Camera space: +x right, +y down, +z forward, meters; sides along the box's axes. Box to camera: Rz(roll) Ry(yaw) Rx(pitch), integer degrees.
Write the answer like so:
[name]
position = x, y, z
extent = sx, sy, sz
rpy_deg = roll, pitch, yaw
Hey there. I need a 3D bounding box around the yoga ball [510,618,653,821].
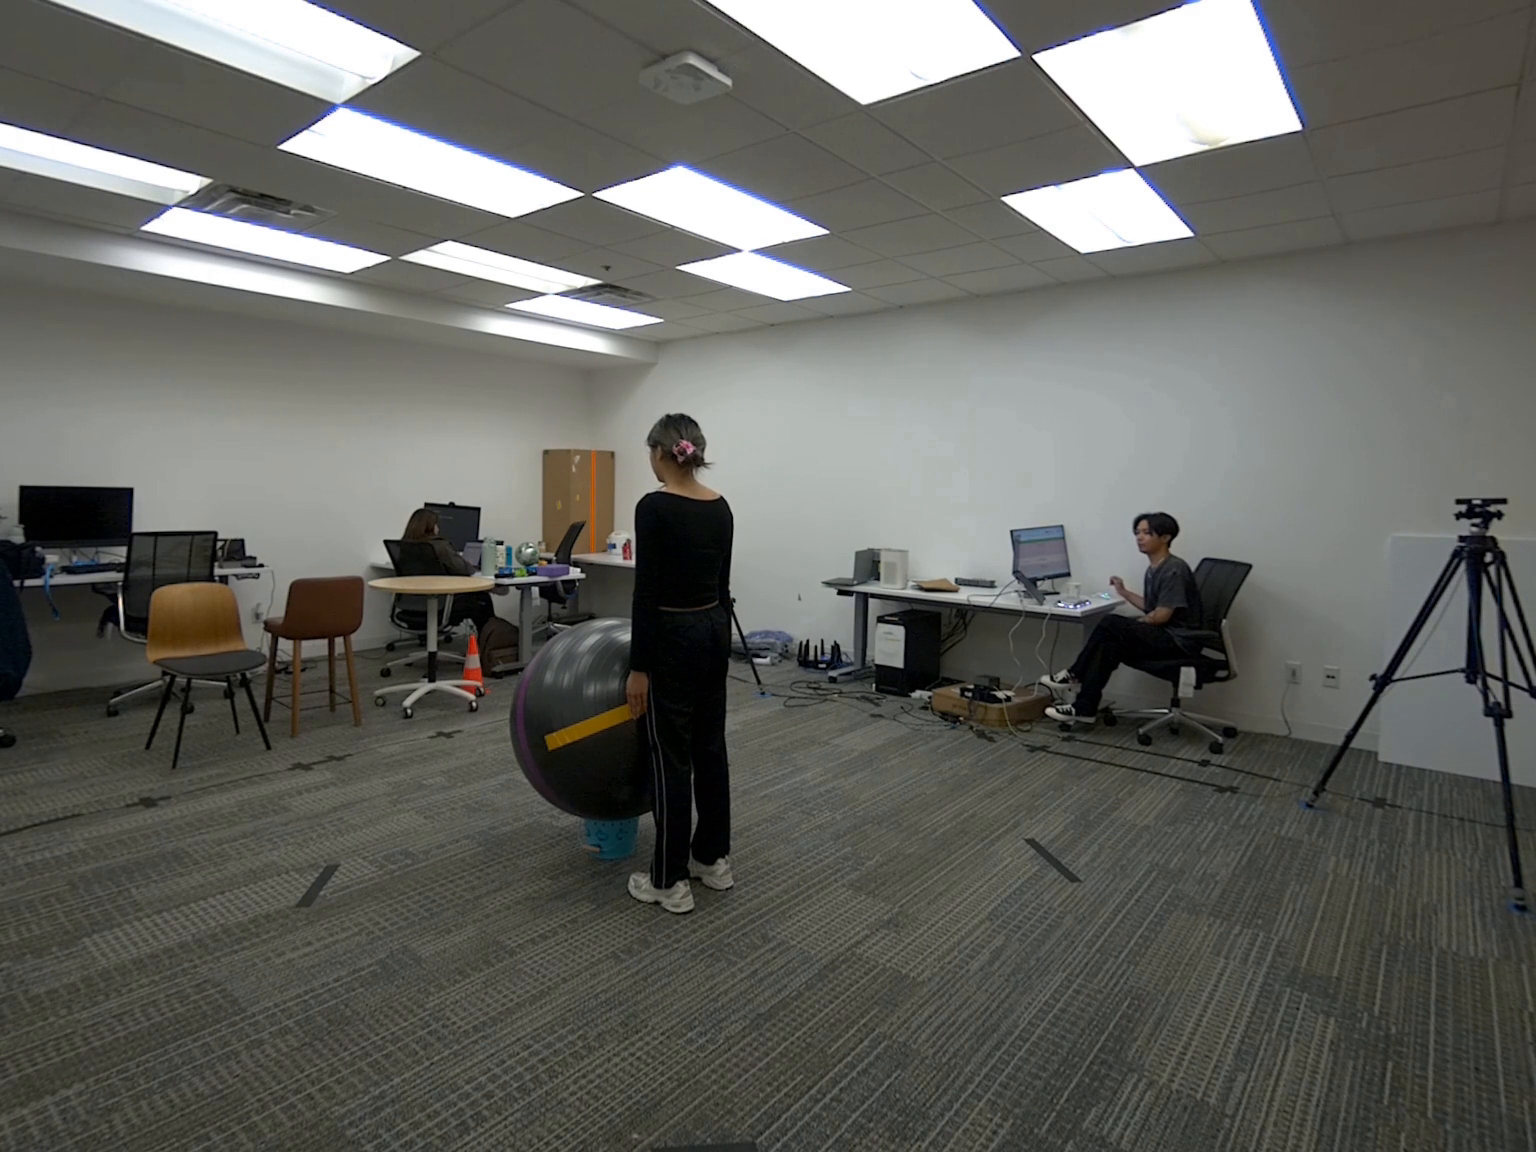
[yoga ball]
position = -0.612, 0.547, 3.251
extent = 0.757, 0.755, 0.762
rpy_deg = 1, 4, -2
